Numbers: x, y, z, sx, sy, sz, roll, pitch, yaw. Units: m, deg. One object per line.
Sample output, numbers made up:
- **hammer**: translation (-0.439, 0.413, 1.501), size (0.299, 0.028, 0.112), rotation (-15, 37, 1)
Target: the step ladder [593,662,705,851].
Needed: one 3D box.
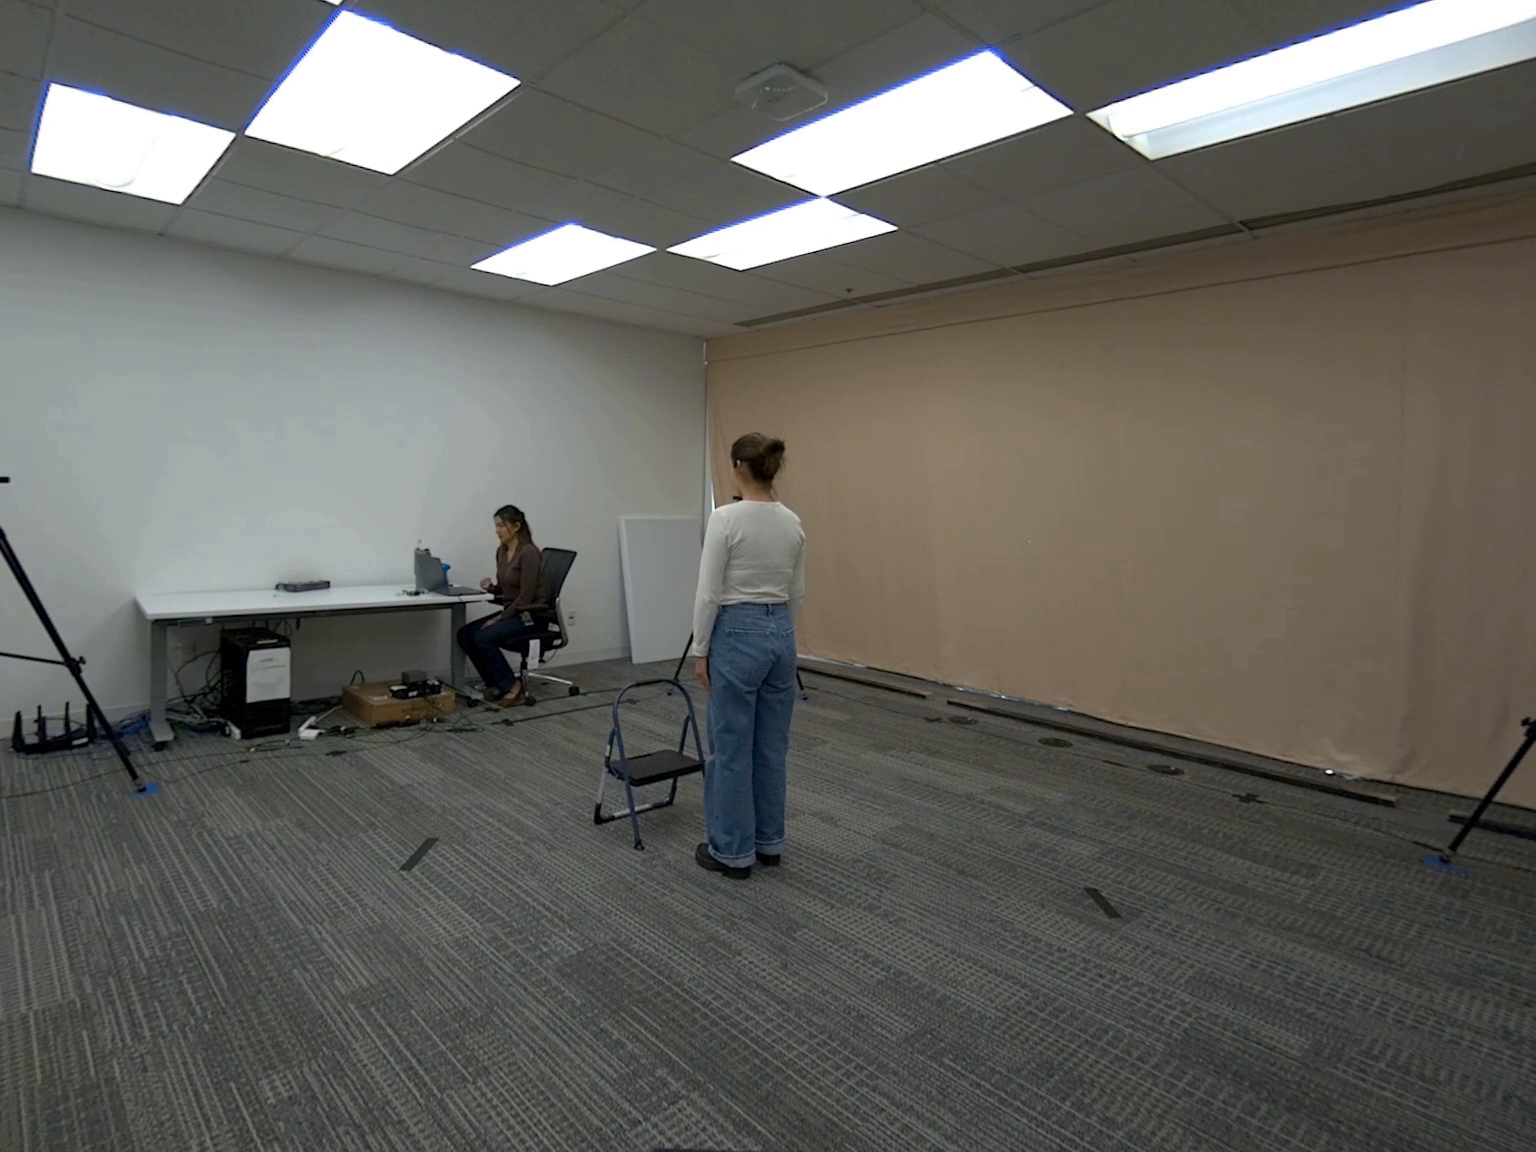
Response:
- **step ladder**: translation (-0.471, 0.753, 3.553), size (0.421, 0.605, 0.358), rotation (-2, 5, -43)
